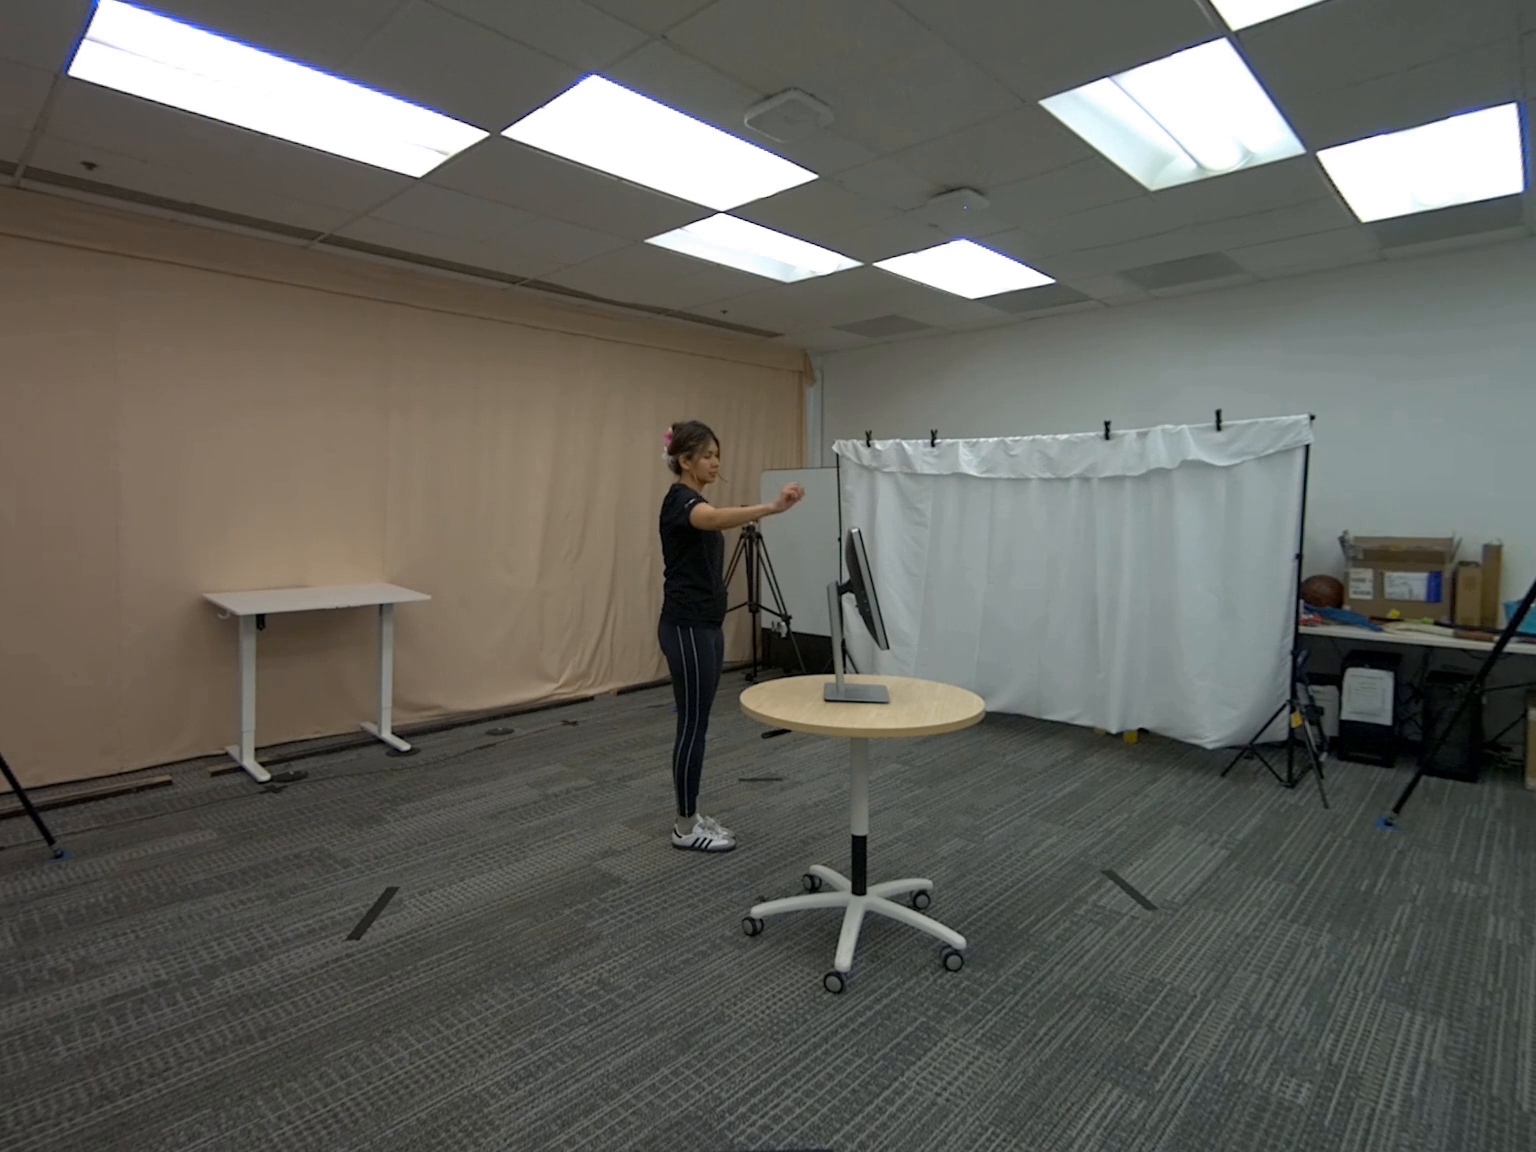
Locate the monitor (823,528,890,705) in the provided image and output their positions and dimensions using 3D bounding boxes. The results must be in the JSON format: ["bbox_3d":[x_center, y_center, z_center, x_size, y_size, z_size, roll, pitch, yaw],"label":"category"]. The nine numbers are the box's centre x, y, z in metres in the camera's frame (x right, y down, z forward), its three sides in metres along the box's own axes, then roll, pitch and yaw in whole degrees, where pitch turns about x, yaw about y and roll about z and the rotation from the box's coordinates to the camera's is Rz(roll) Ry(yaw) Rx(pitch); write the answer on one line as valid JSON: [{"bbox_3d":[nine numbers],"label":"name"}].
[{"bbox_3d":[0.286,0.123,2.723,0.188,0.522,0.537,0,3,3],"label":"monitor"}]
